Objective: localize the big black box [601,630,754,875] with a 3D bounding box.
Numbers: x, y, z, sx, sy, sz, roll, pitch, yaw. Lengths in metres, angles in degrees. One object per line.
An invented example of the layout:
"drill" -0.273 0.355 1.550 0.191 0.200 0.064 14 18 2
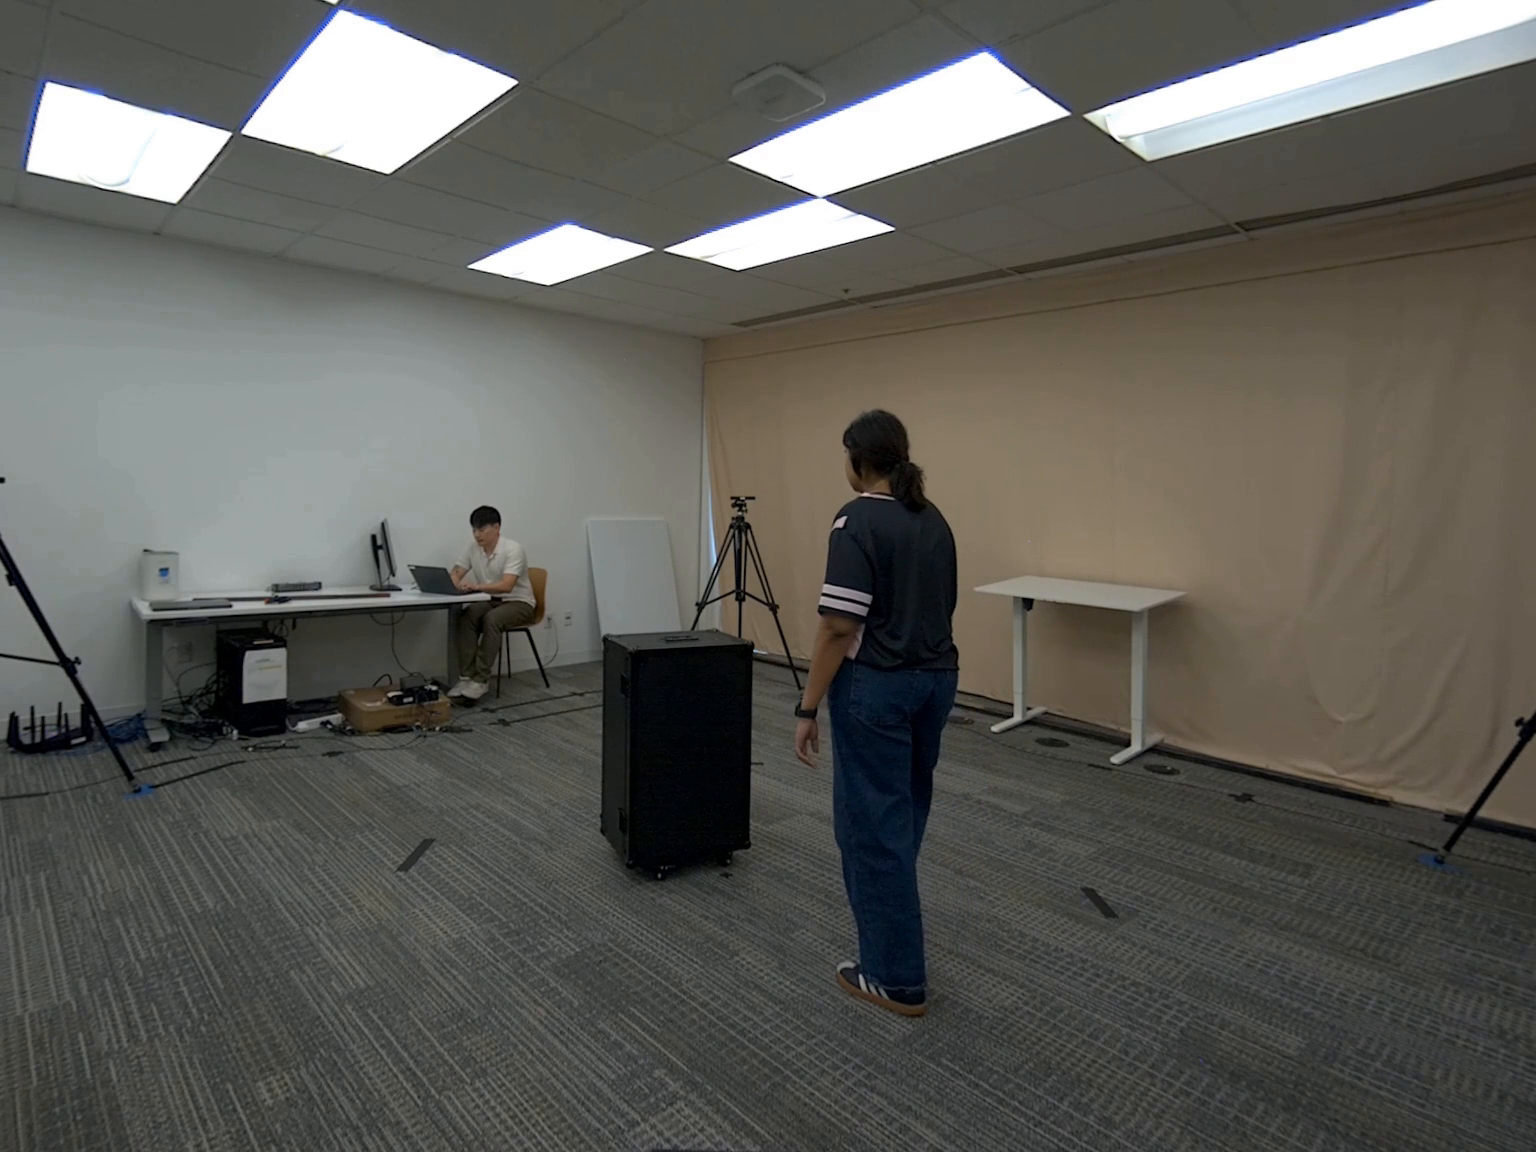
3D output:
"big black box" -0.368 0.668 3.217 0.514 0.867 0.393 0 3 -26
